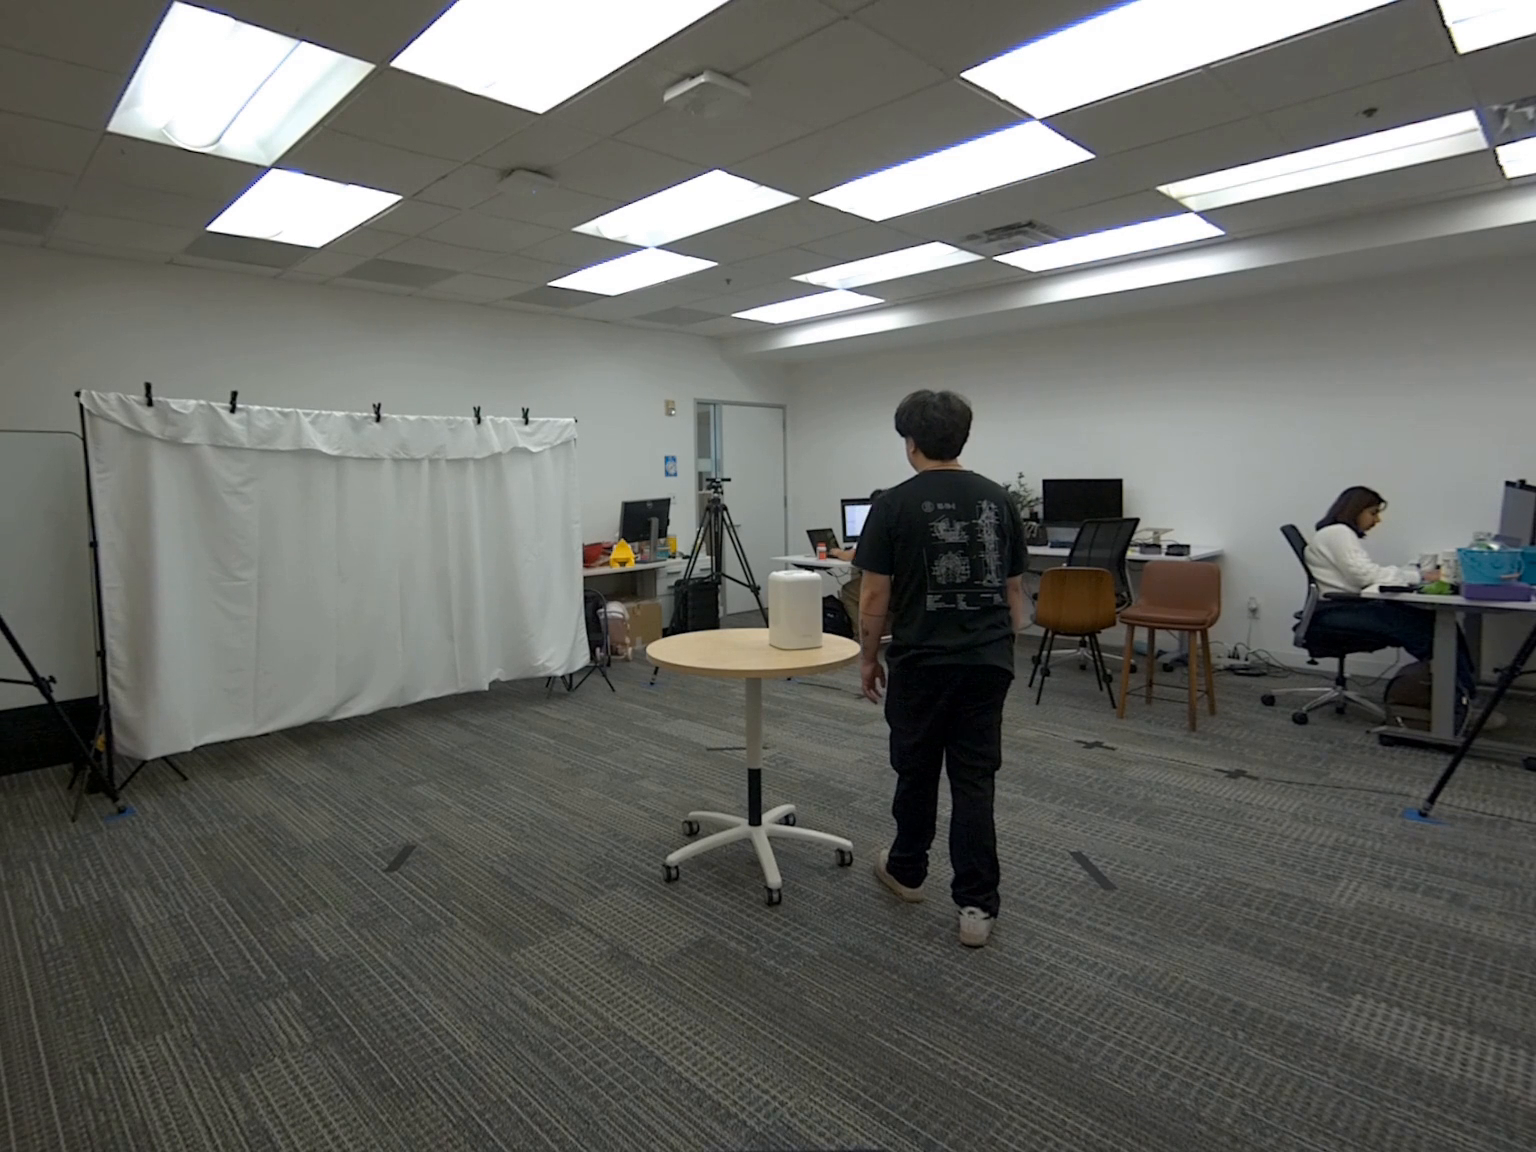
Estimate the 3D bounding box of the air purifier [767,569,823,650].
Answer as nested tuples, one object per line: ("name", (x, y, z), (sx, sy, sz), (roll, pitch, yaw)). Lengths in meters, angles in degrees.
("air purifier", (0.103, 0.117, 3.070), (0.168, 0.265, 0.175), (0, 3, -22))
